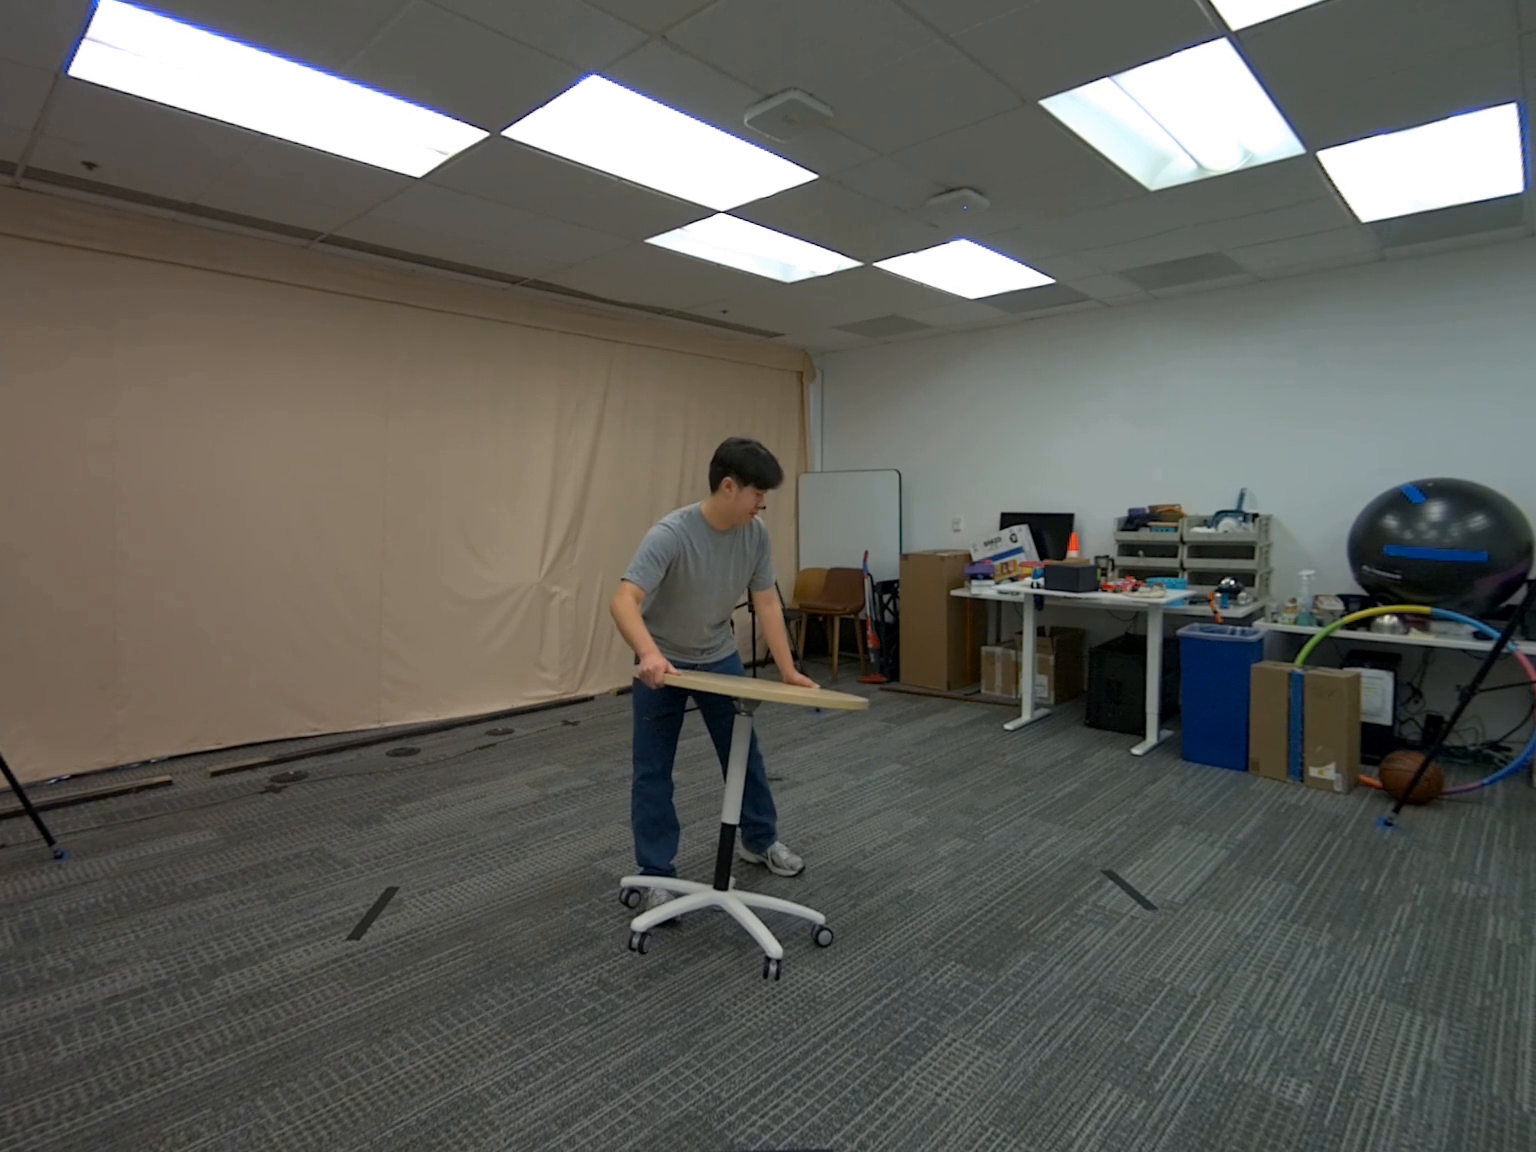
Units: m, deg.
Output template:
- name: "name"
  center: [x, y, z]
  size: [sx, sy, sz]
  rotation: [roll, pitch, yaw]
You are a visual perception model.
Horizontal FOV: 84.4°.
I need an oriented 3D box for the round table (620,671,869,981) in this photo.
- name: "round table"
  center: [-0.101, 0.736, 2.642]
  size: [0.764, 0.796, 0.762]
  rotation: [8, -5, -1]
